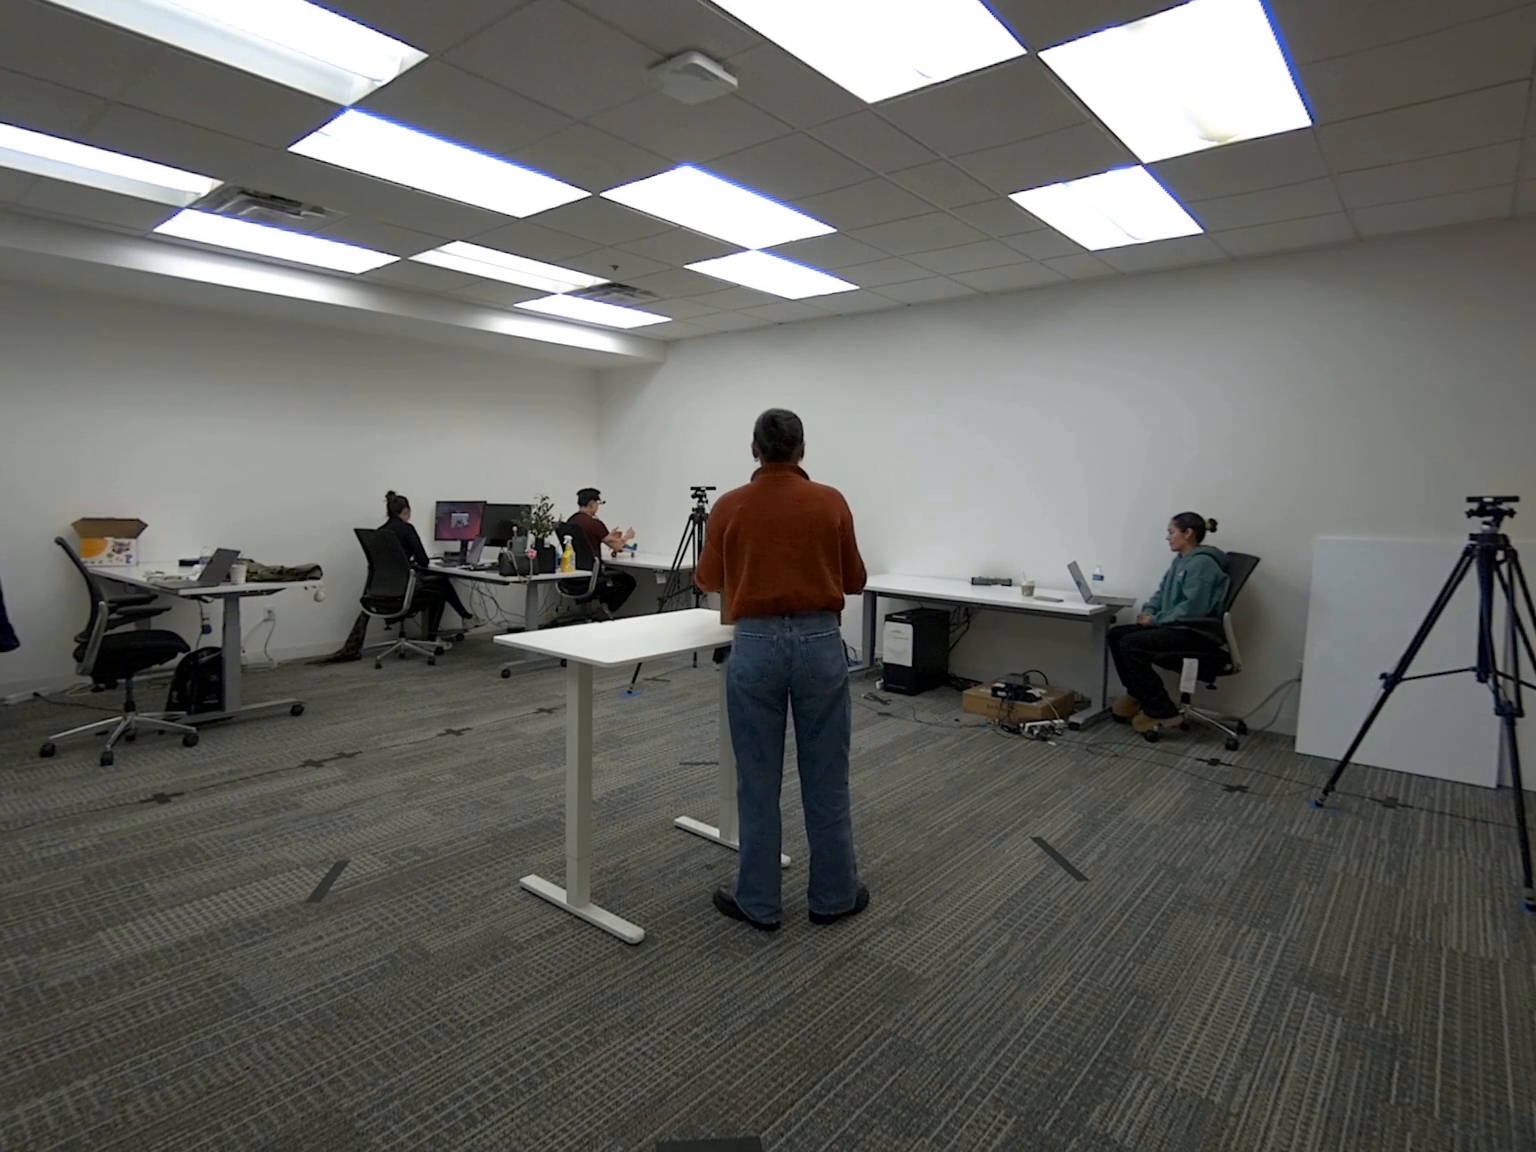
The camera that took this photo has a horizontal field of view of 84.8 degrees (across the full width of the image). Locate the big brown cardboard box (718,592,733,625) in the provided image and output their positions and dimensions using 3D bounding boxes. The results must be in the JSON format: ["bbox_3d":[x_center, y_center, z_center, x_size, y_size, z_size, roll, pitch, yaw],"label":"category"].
[{"bbox_3d":[0.045,0.003,3.153,0.420,0.231,0.591,1,10,4],"label":"big brown cardboard box"}]
